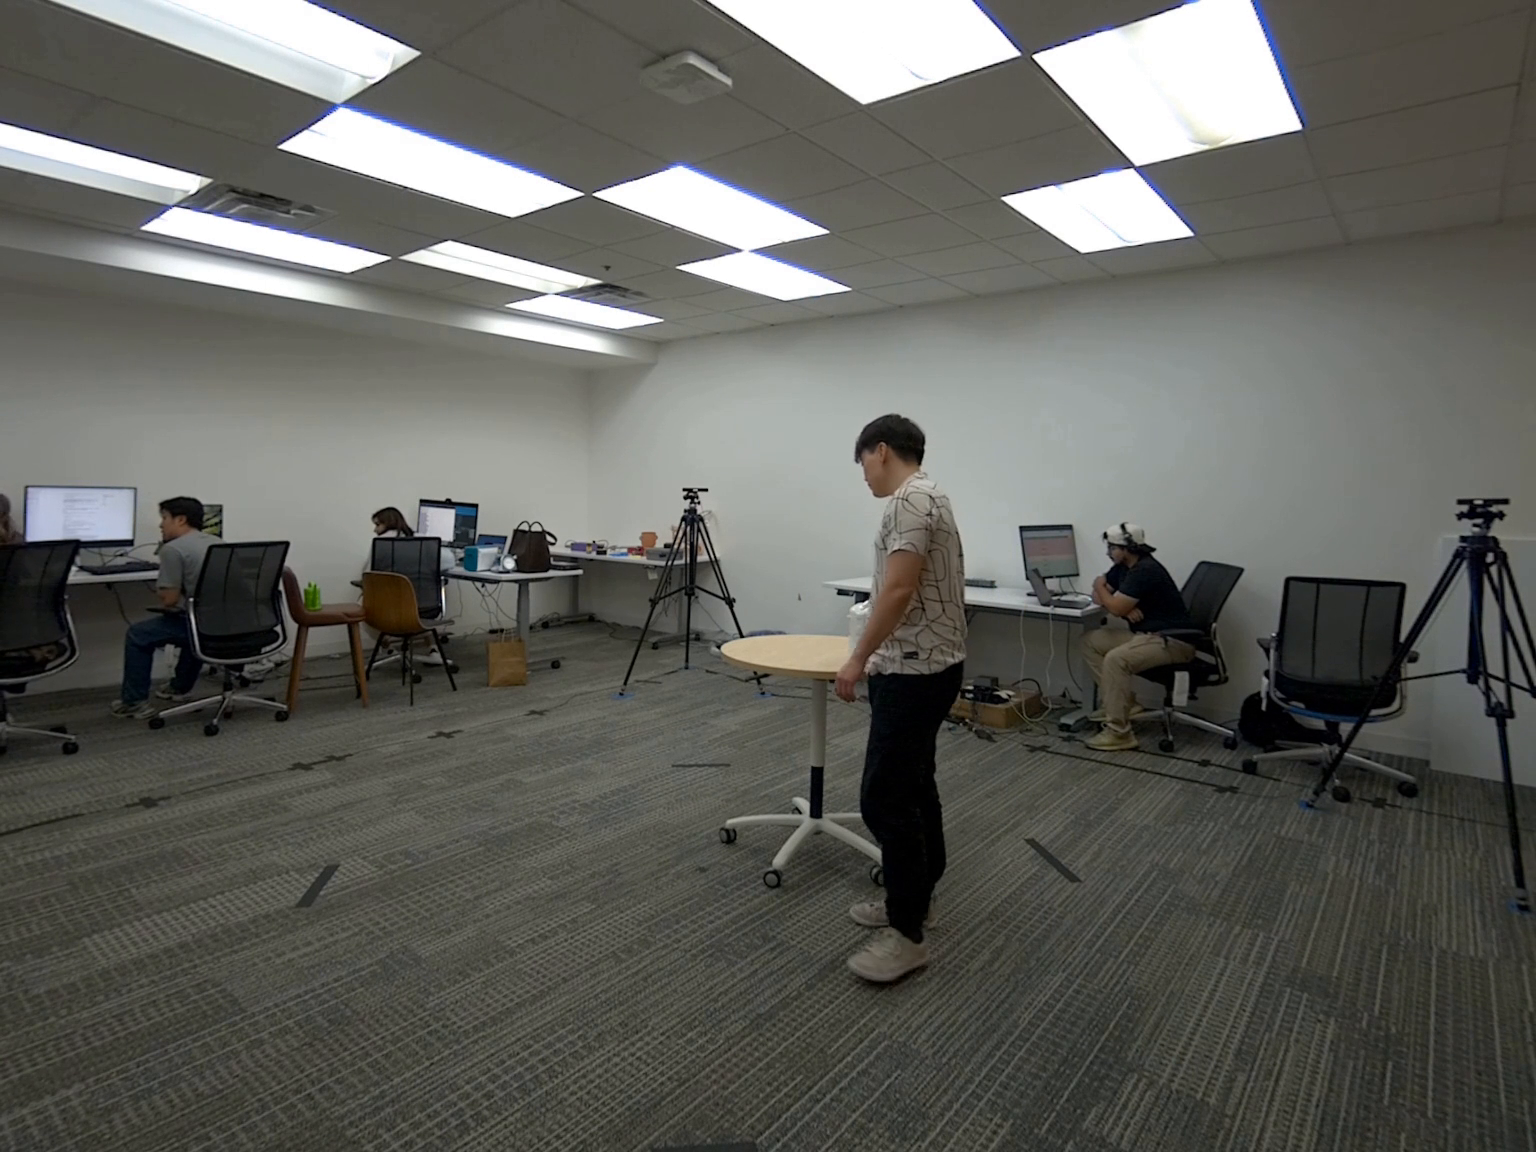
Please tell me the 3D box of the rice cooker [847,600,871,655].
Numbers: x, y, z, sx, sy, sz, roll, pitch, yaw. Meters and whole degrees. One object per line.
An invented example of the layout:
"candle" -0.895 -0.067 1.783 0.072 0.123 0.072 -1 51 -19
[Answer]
"rice cooker" 0.389 0.192 3.018 0.214 0.232 0.225 -3 5 -41
